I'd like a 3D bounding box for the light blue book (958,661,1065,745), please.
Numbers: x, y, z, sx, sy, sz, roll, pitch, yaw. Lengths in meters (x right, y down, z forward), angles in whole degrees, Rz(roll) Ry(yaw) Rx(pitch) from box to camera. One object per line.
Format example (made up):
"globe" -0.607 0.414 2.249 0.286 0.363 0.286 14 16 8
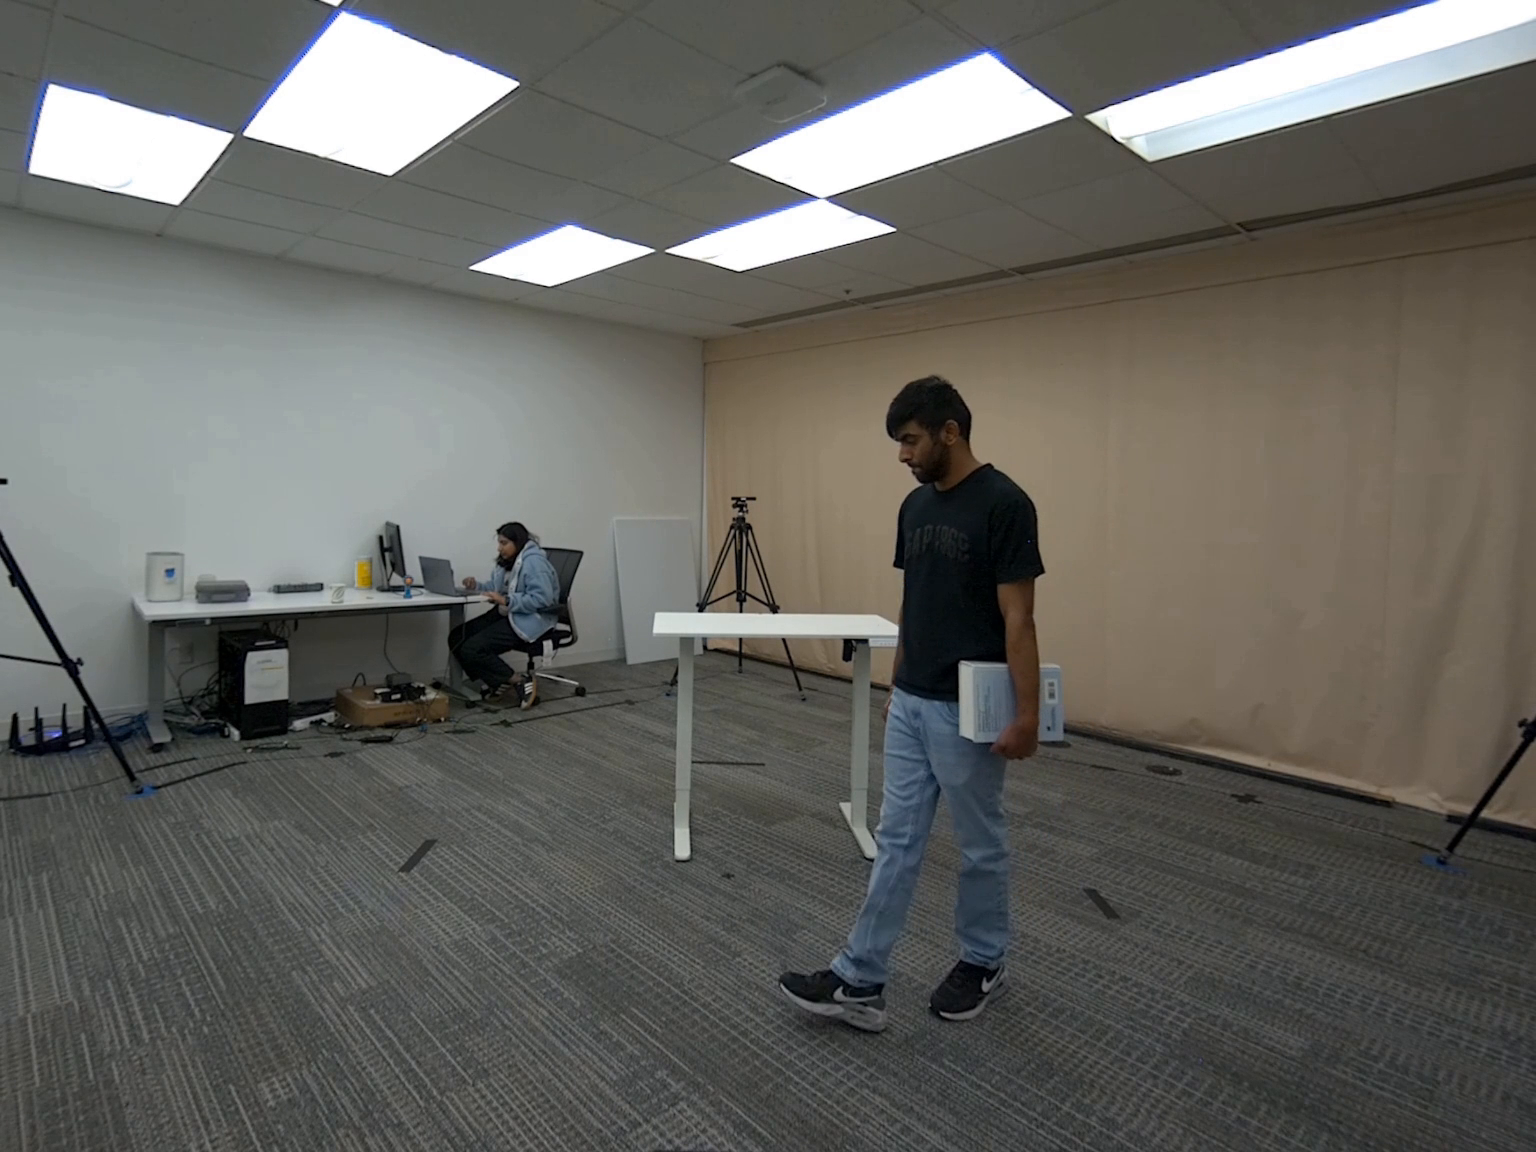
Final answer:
"light blue book" 0.604 0.314 2.112 0.257 0.192 0.059 6 -8 -17
